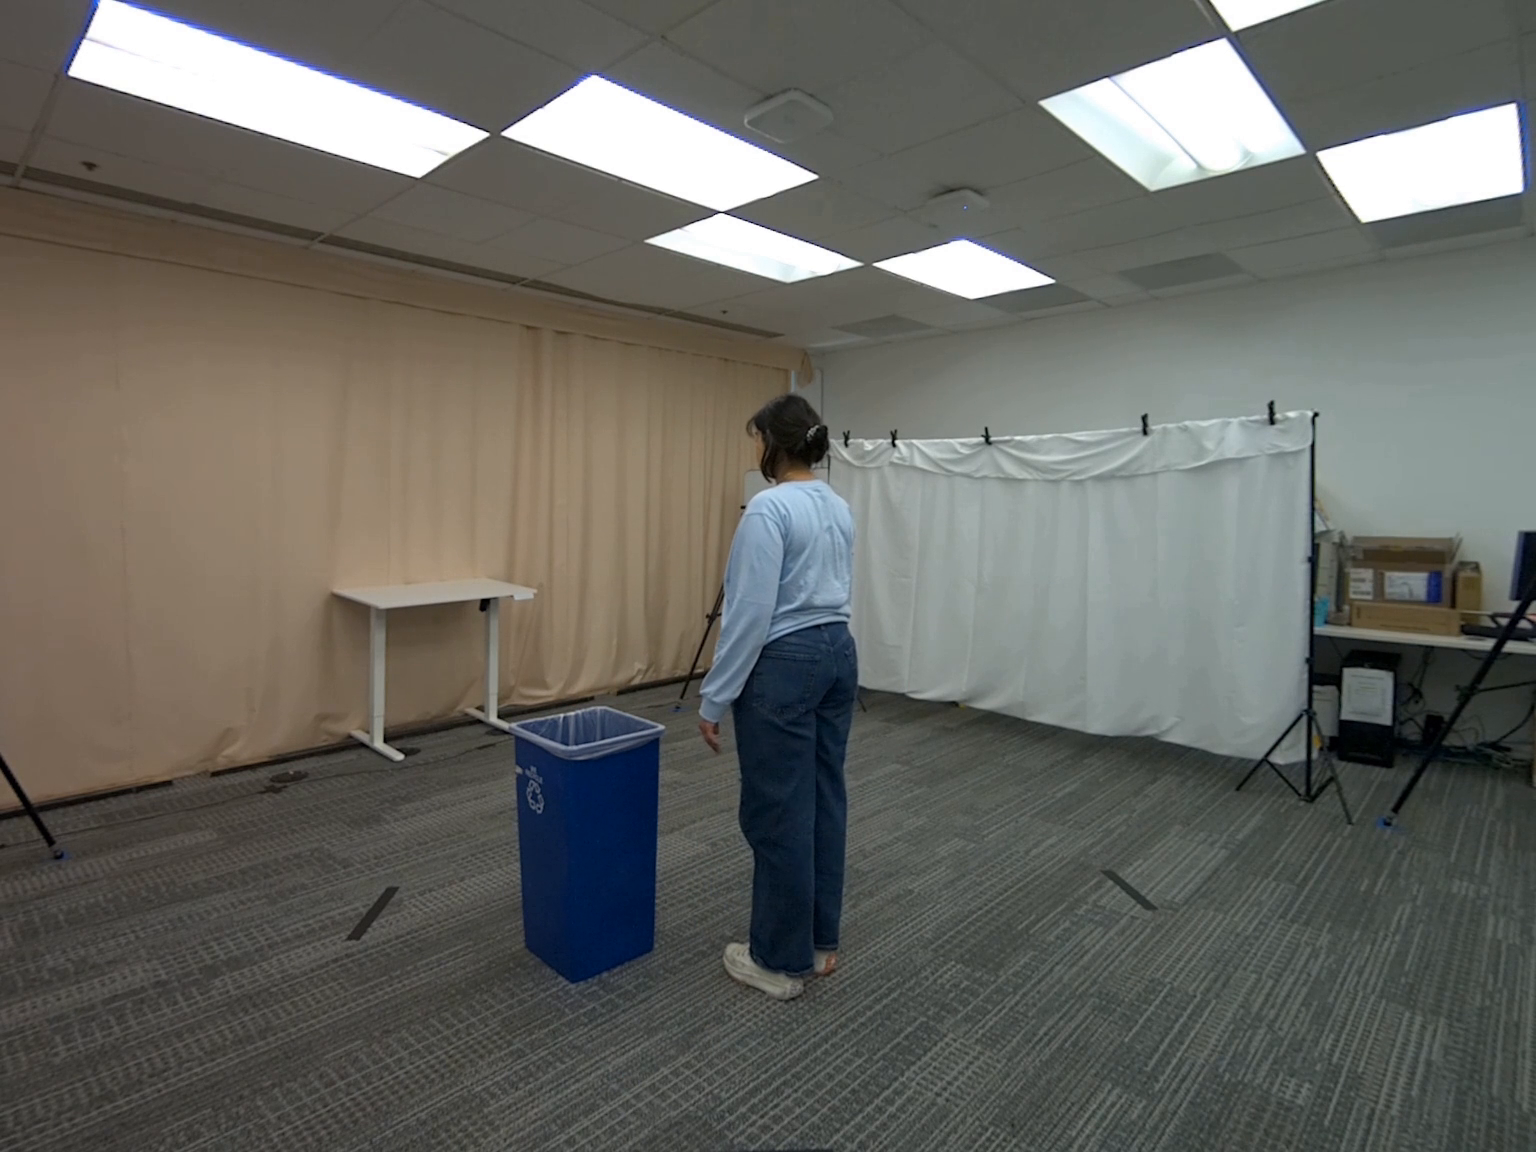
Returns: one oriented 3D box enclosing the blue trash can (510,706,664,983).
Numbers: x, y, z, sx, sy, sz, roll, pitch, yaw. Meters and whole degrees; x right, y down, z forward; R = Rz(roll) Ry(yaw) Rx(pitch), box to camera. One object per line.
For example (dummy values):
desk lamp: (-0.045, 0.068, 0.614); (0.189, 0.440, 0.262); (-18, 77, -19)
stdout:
blue trash can: (-0.556, 0.821, 2.636); (0.366, 0.712, 0.386); (-4, 5, -44)
